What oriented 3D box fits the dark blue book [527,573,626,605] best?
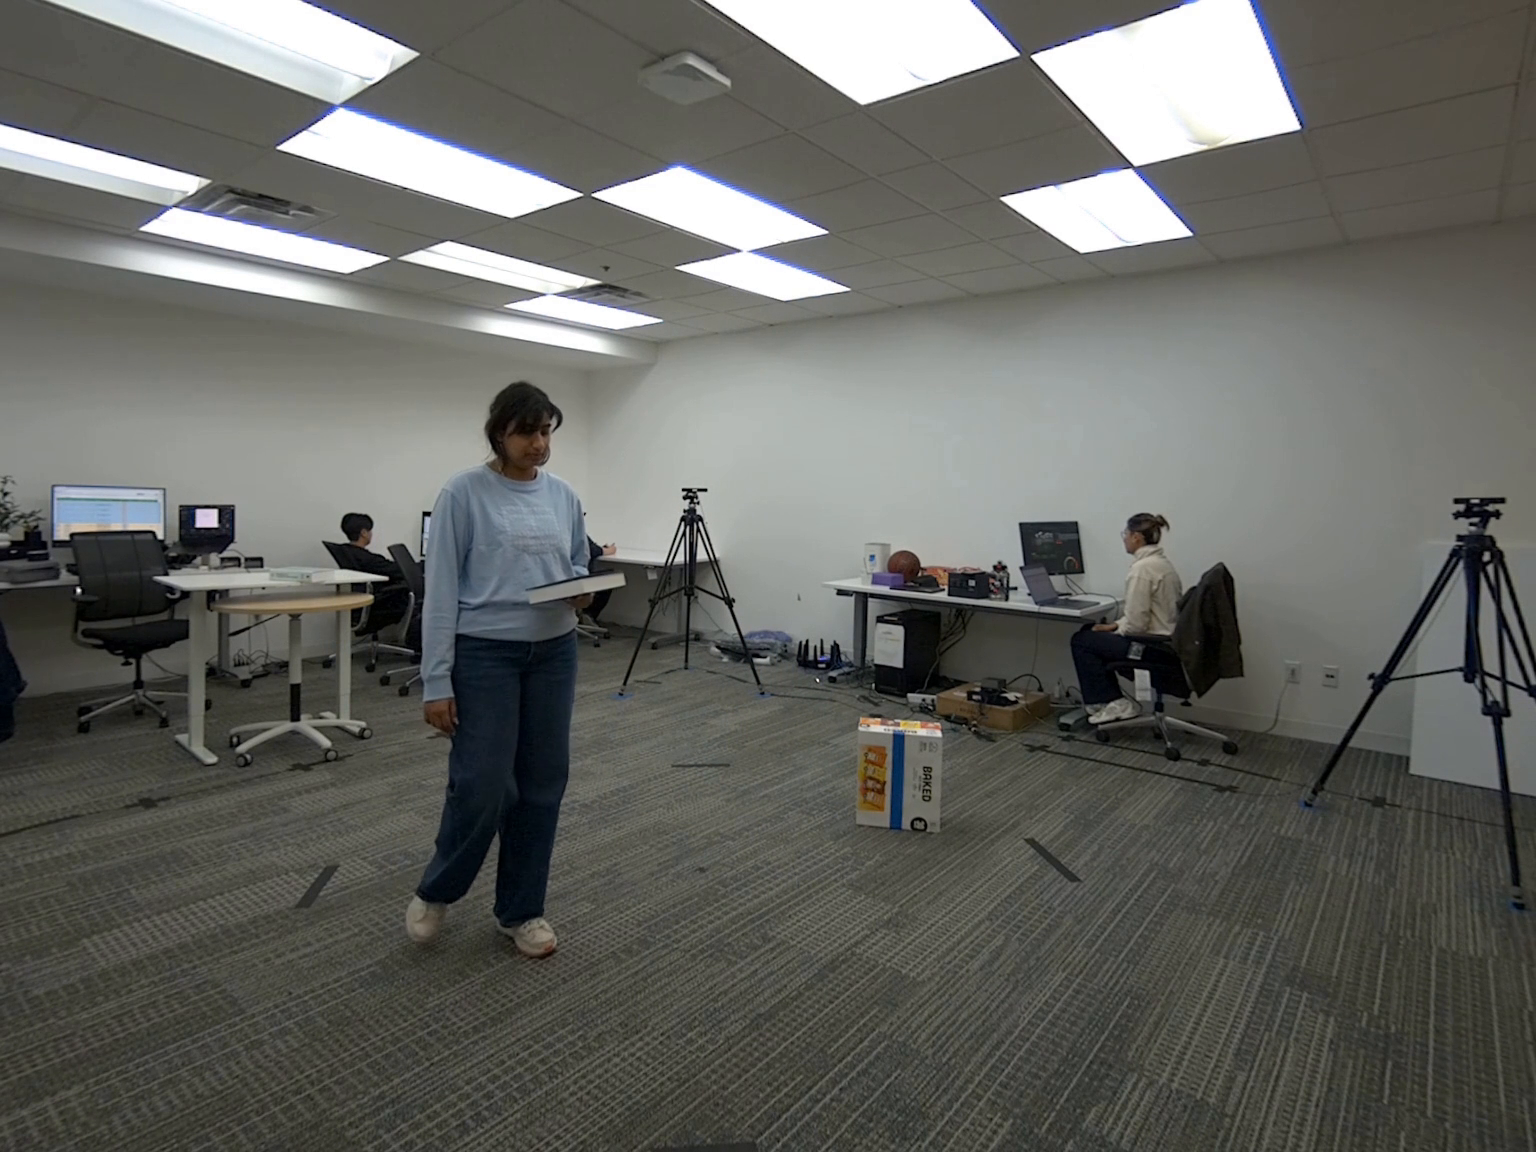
[{"bbox_3d":[-0.550,0.031,2.393,0.251,0.045,0.159,-9,0,33],"label":"dark blue book"}]
